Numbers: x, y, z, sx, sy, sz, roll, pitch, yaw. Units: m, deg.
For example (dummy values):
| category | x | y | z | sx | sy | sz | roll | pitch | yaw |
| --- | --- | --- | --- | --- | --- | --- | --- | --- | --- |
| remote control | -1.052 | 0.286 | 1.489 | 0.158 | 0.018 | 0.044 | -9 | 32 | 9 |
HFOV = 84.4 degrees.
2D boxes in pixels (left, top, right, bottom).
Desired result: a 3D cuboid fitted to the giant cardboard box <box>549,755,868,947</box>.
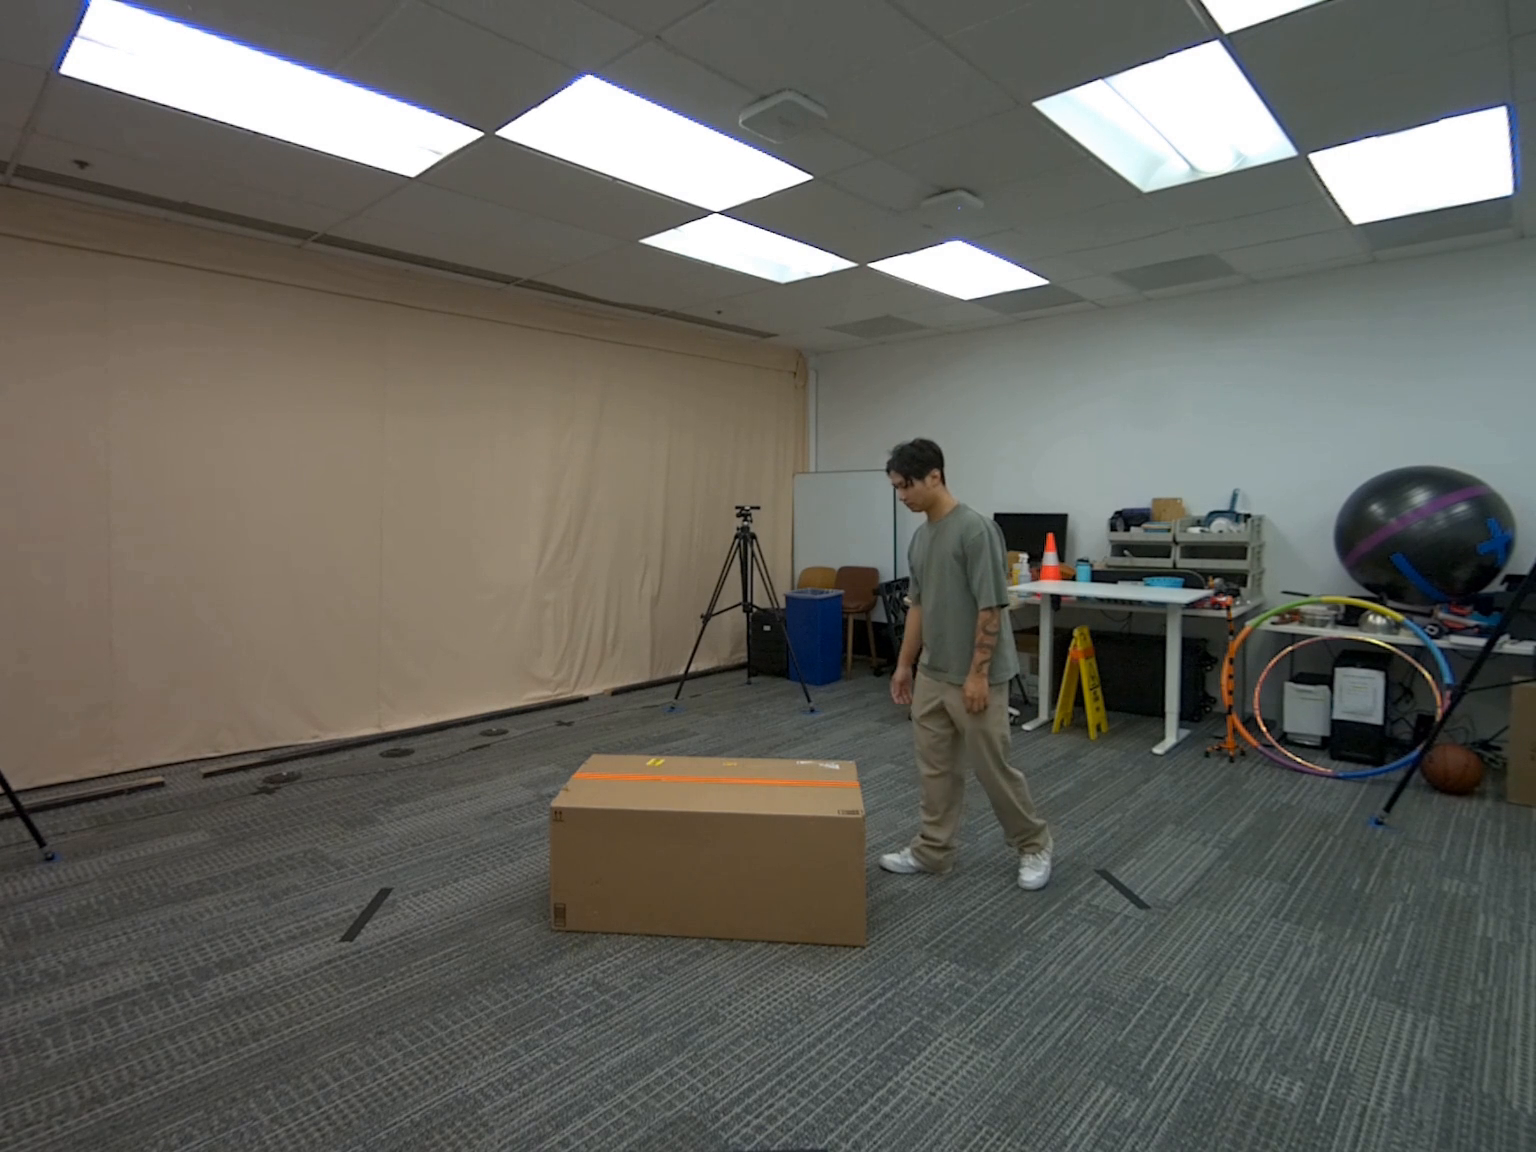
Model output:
| category | x | y | z | sx | sy | sz | roll | pitch | yaw |
| --- | --- | --- | --- | --- | --- | --- | --- | --- | --- |
| giant cardboard box | -0.191 | 0.931 | 2.979 | 1.032 | 0.425 | 0.575 | 0 | 5 | 5 |
